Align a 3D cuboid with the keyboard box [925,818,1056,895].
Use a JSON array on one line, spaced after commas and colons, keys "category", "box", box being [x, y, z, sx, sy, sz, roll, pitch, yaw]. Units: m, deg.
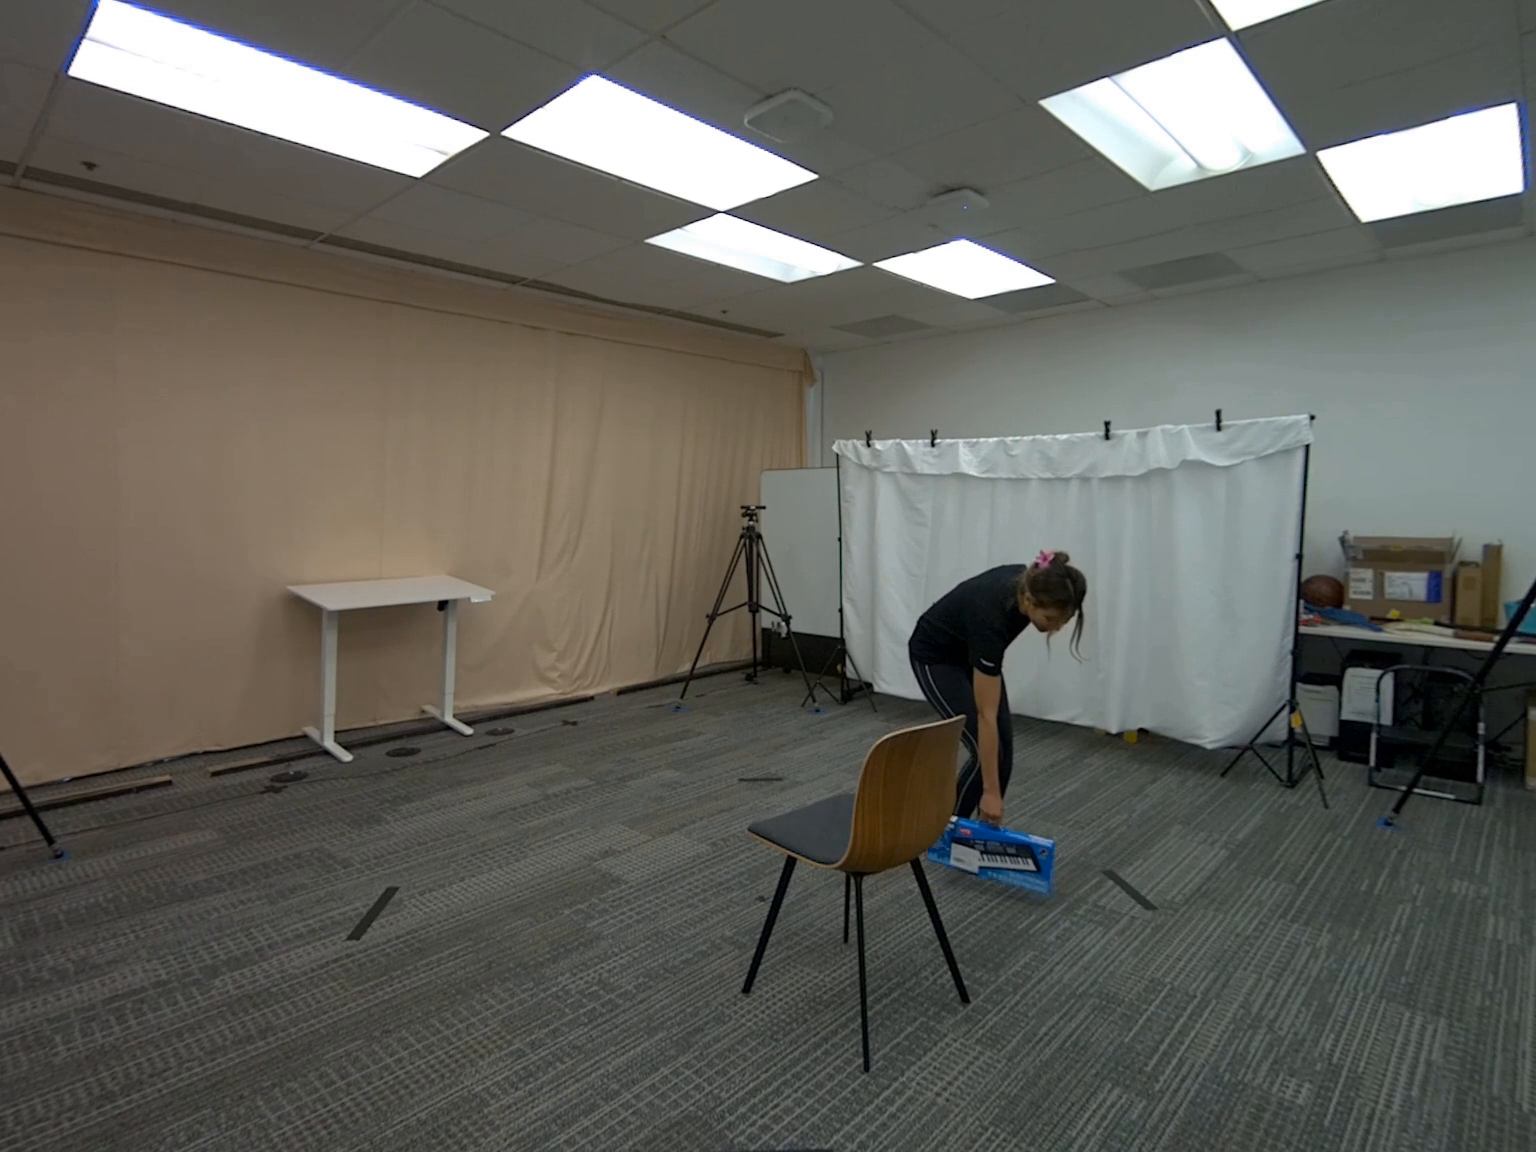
[{"category": "keyboard box", "box": [0.793, 0.983, 3.018, 0.450, 0.175, 0.057, 6, 6, 31]}]
